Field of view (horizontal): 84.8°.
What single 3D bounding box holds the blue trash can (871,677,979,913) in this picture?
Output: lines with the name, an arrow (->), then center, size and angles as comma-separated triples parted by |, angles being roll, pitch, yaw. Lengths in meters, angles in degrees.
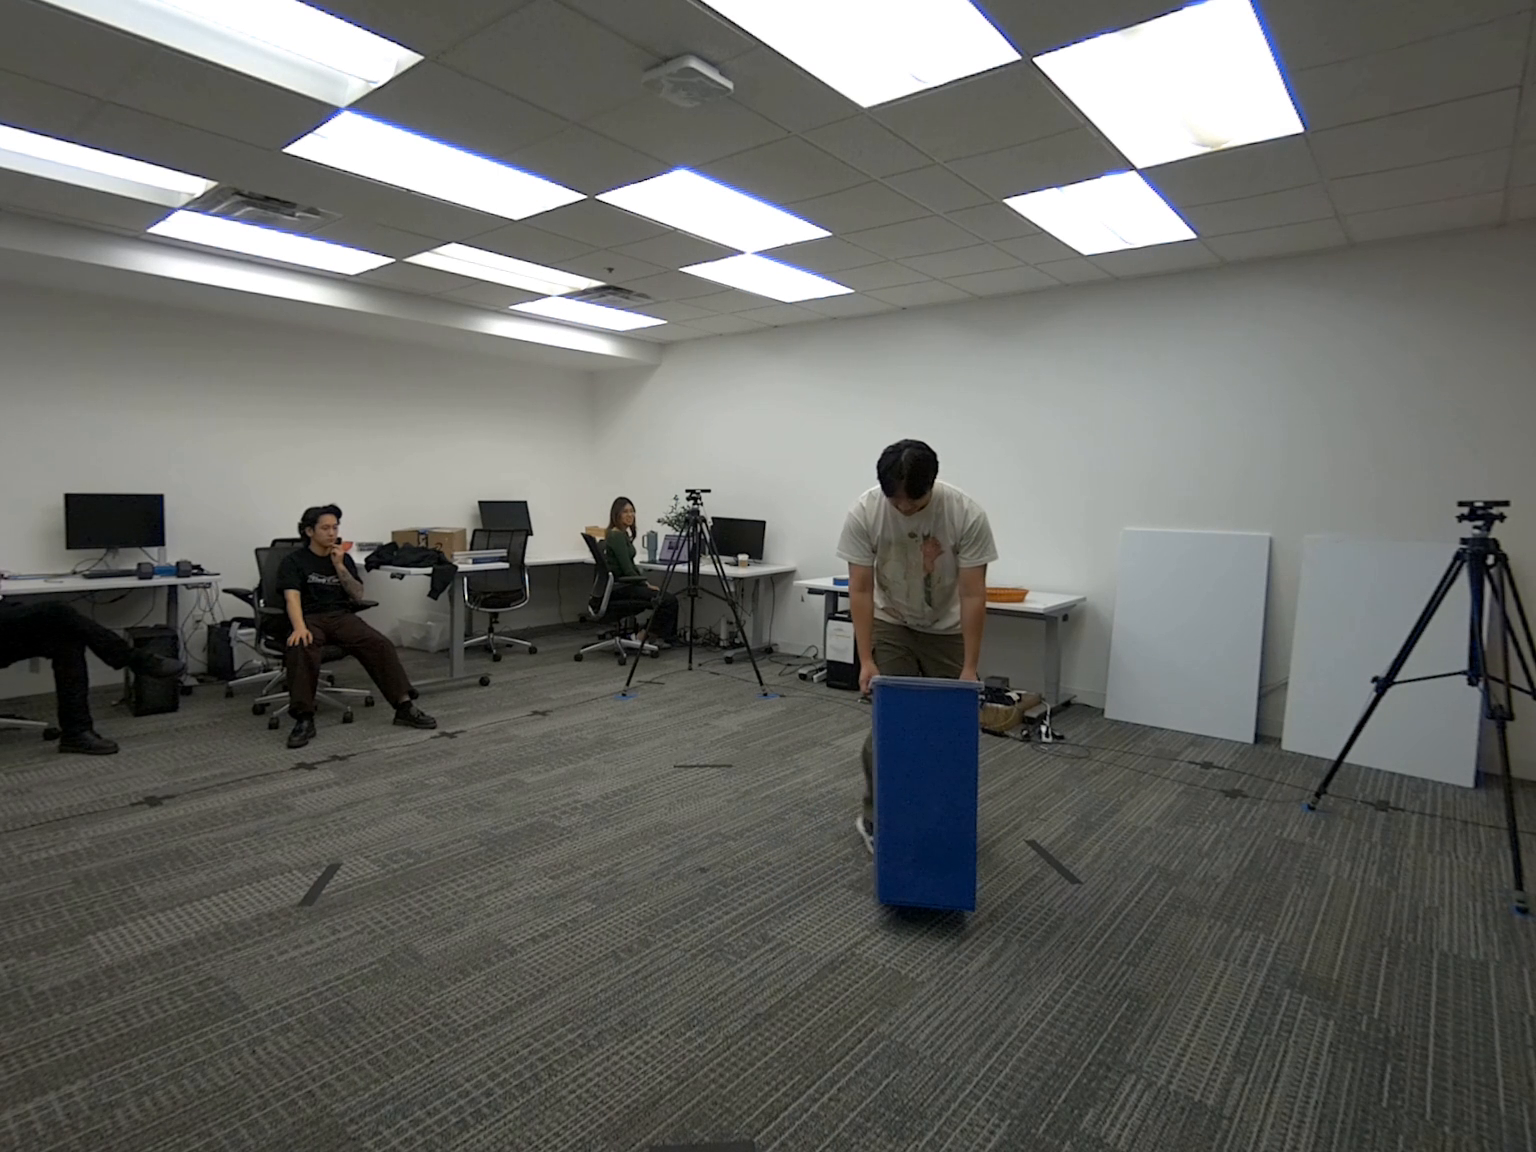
blue trash can -> 0.523, 0.726, 2.903 | 0.381, 0.724, 0.366 | 1, -16, 6
